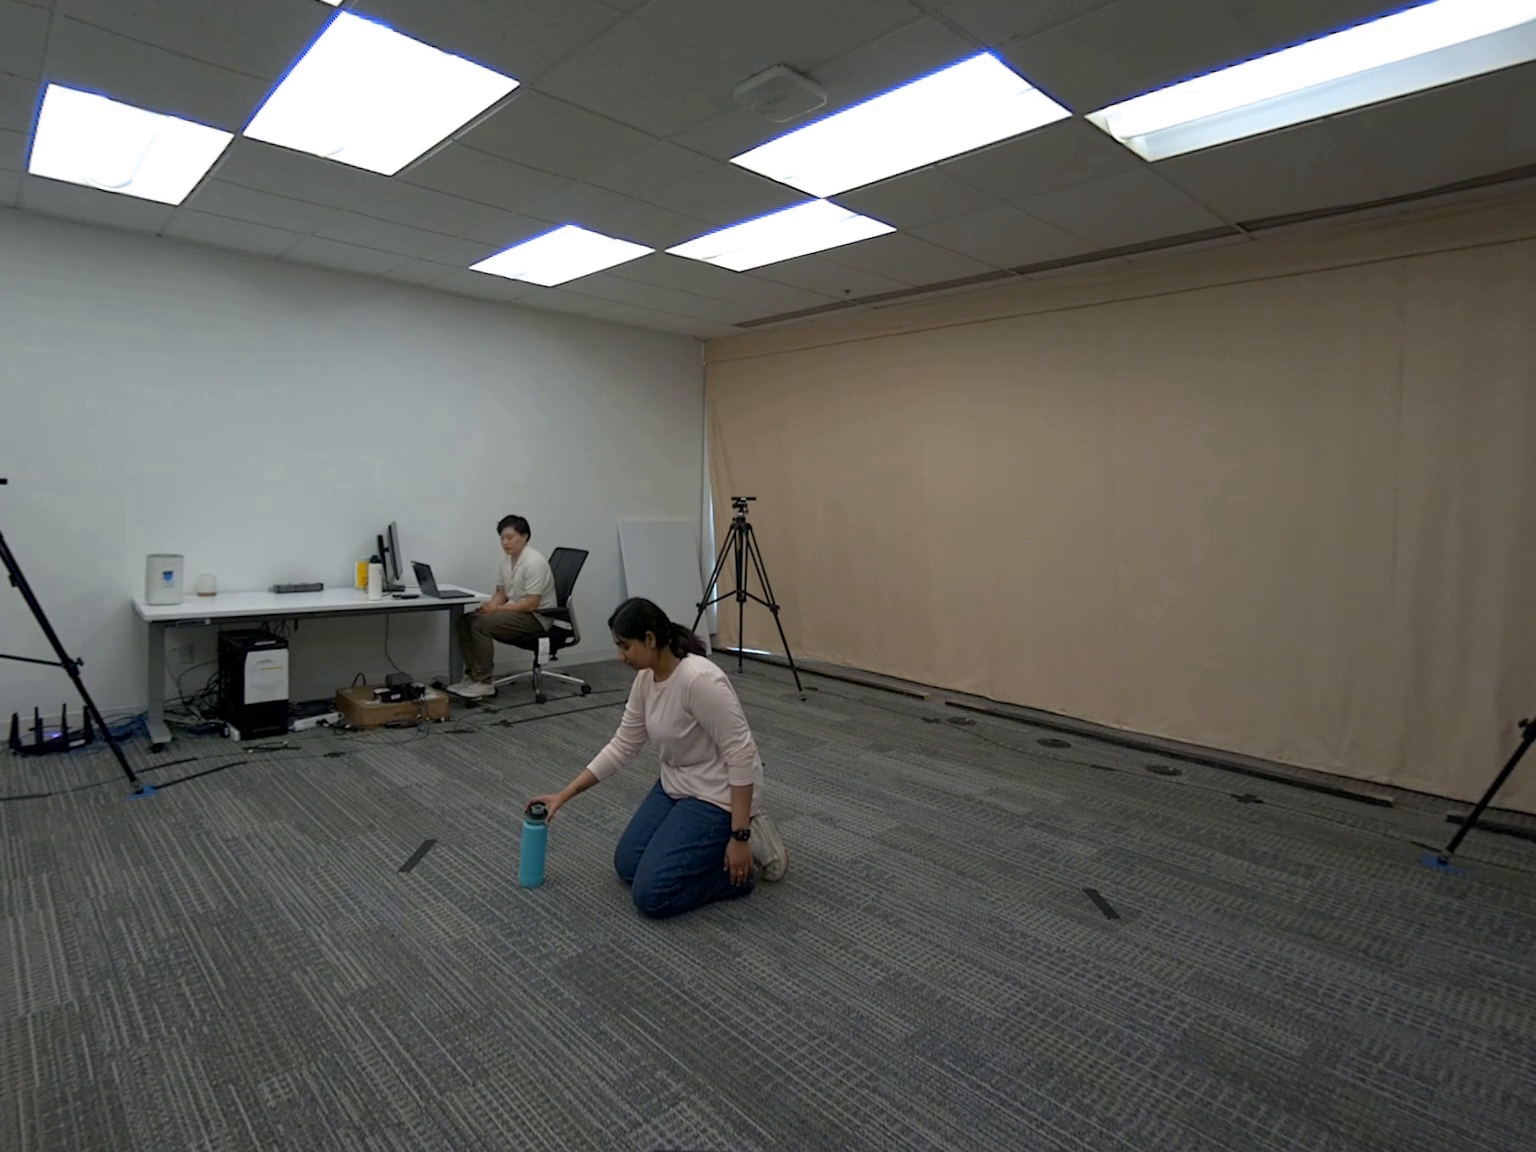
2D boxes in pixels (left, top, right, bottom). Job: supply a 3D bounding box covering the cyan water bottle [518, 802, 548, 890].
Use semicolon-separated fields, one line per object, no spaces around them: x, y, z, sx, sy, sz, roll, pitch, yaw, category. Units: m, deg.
-0.836;0.946;3.002;0.092;0.282;0.093;6;7;-2;cyan water bottle
